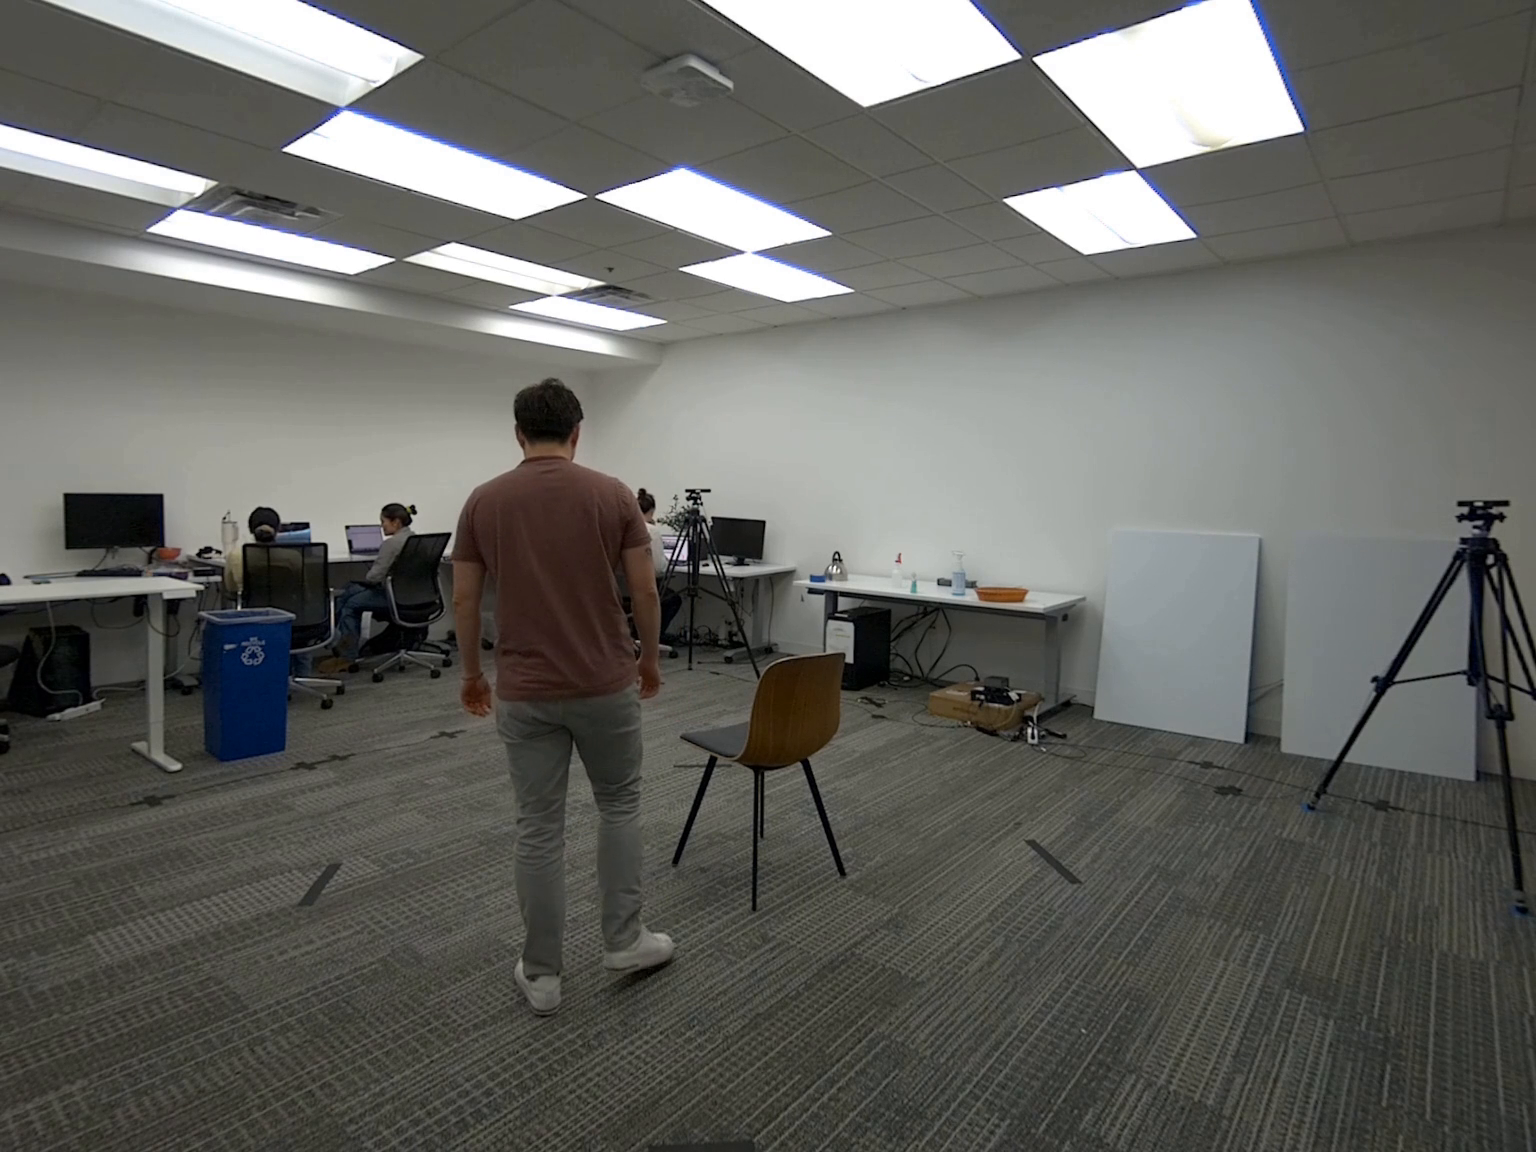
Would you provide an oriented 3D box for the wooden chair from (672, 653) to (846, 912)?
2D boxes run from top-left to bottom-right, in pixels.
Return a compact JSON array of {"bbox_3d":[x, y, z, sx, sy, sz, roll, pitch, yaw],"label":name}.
[{"bbox_3d":[-0.036,0.651,3.100,0.463,0.872,0.542,-1,9,-42],"label":"wooden chair"}]
